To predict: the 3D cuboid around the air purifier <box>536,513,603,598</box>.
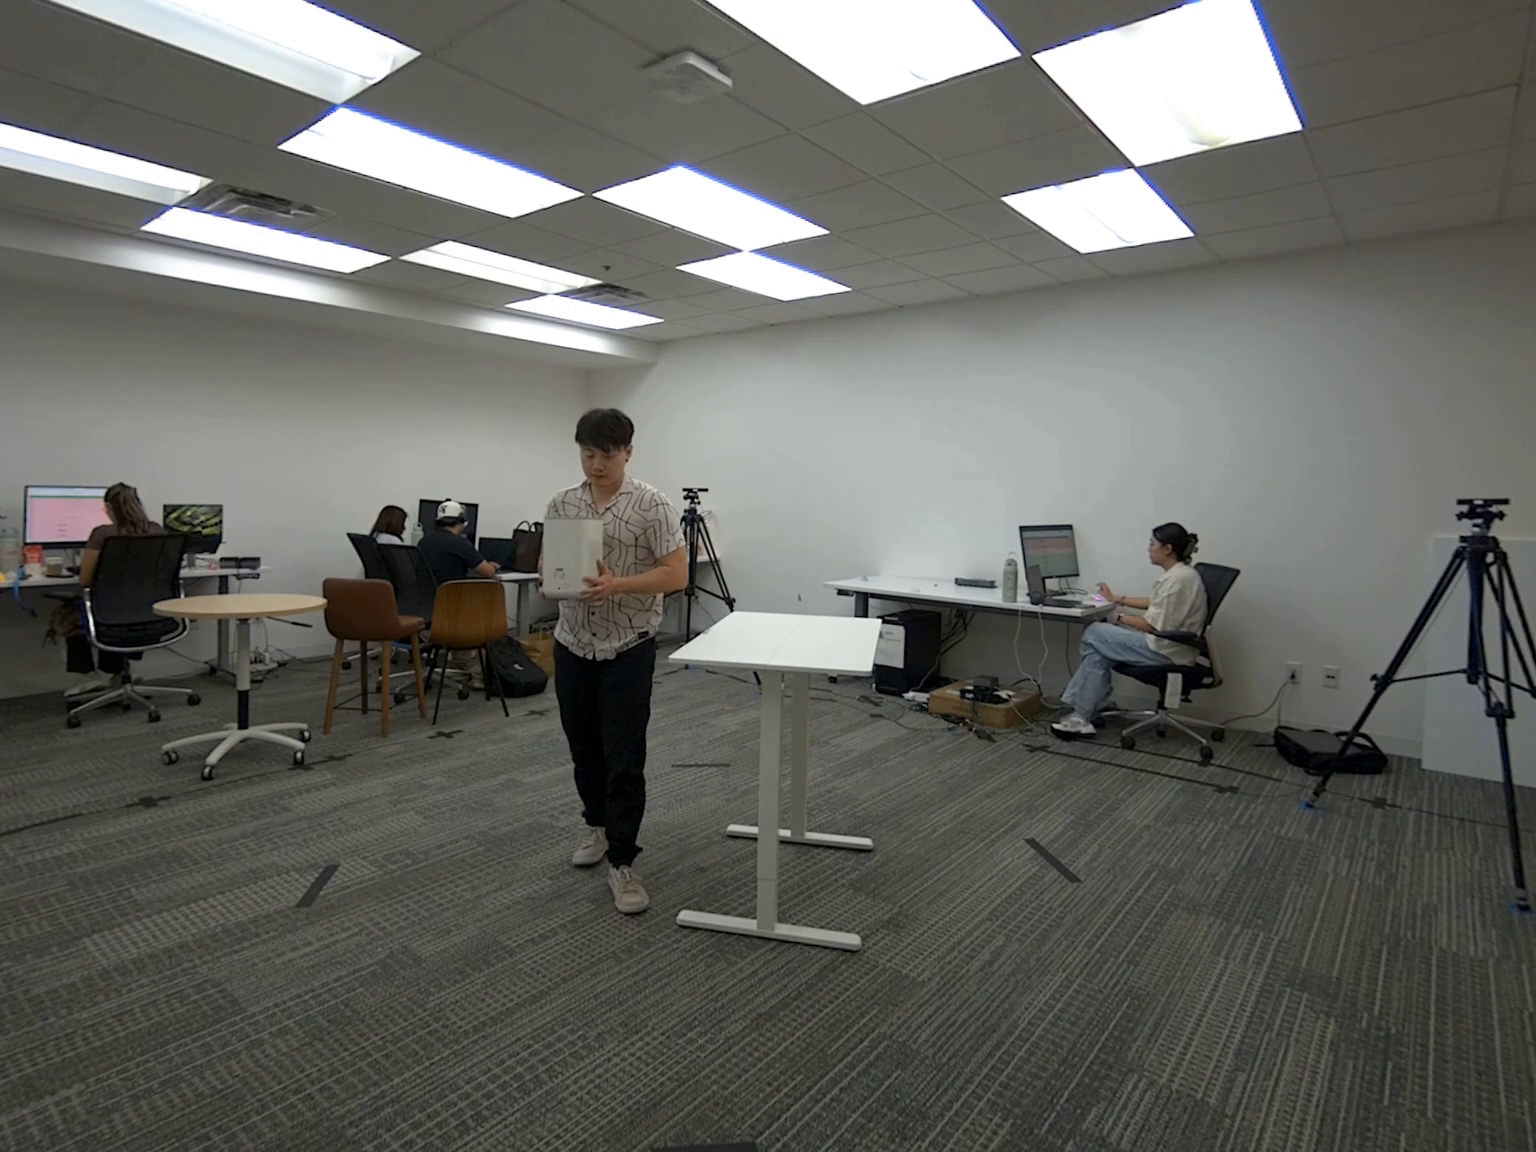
[{"bbox_3d":[-0.650,-0.069,2.829,0.175,0.265,0.167,4,0,21],"label":"air purifier"}]
